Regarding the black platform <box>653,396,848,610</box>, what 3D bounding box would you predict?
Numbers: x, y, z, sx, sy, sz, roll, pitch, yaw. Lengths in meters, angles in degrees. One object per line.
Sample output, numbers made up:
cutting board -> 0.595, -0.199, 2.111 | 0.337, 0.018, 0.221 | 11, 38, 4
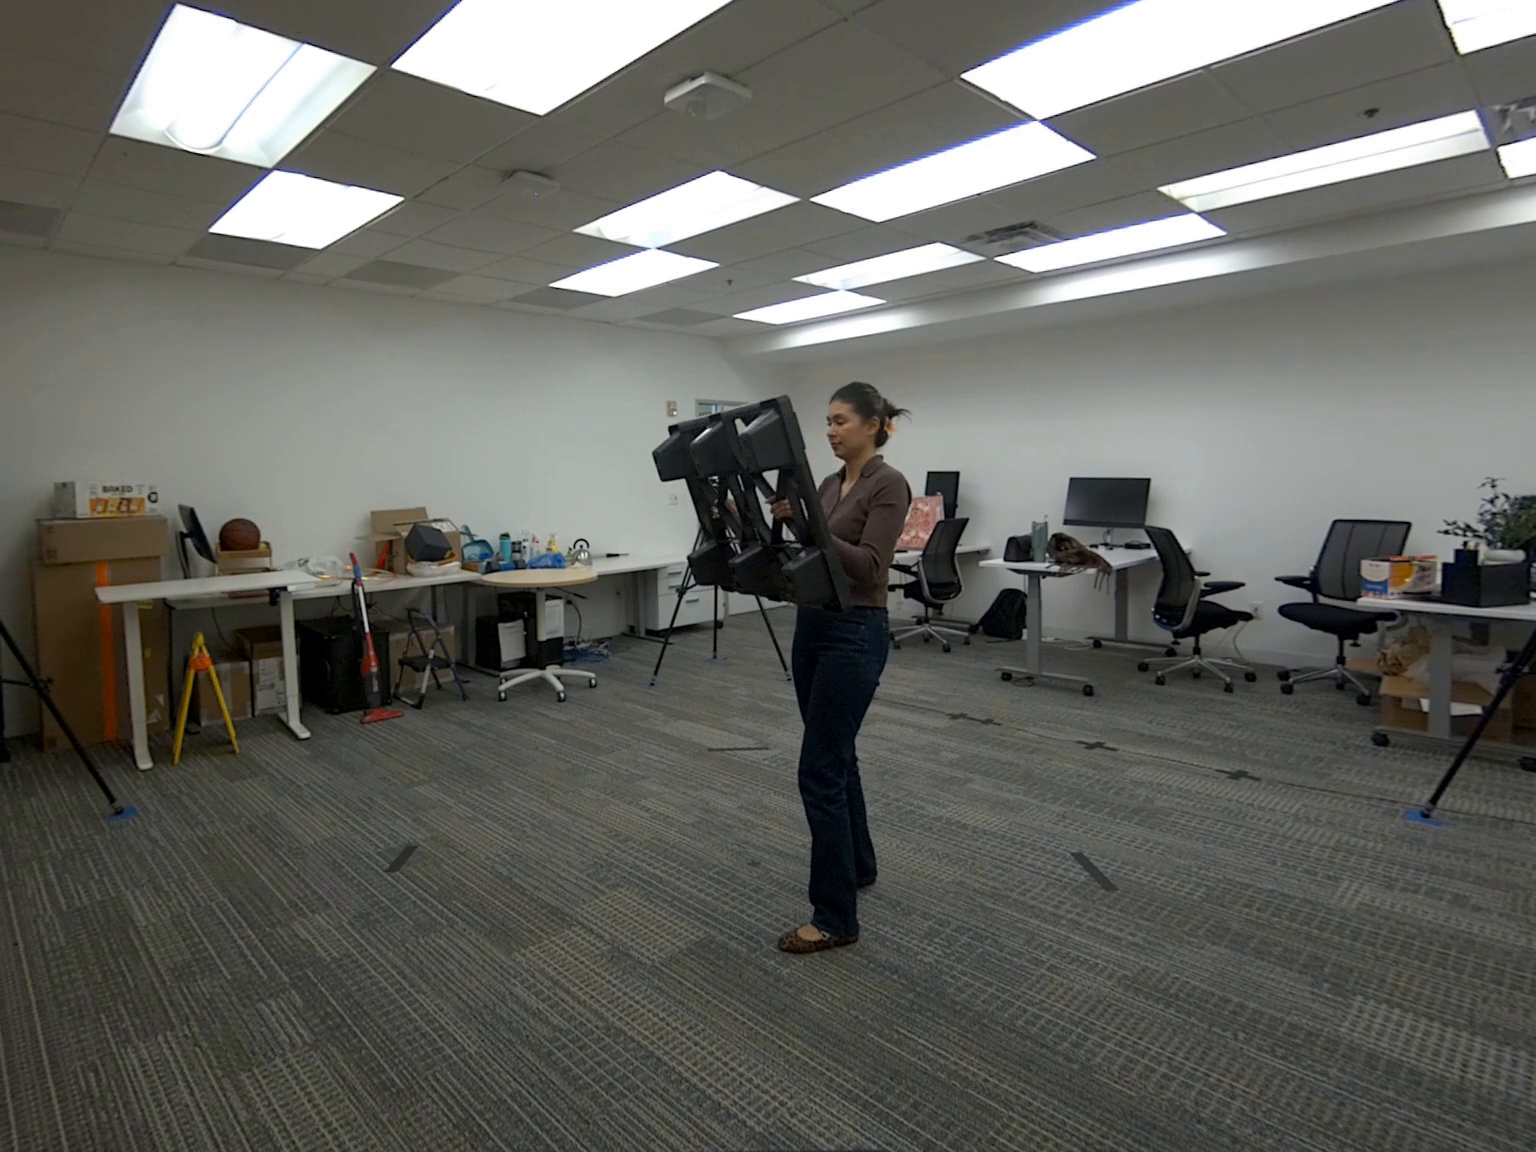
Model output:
black platform -> -0.089, -0.195, 2.551 | 0.141, 0.598, 0.825 | -22, 12, -23
